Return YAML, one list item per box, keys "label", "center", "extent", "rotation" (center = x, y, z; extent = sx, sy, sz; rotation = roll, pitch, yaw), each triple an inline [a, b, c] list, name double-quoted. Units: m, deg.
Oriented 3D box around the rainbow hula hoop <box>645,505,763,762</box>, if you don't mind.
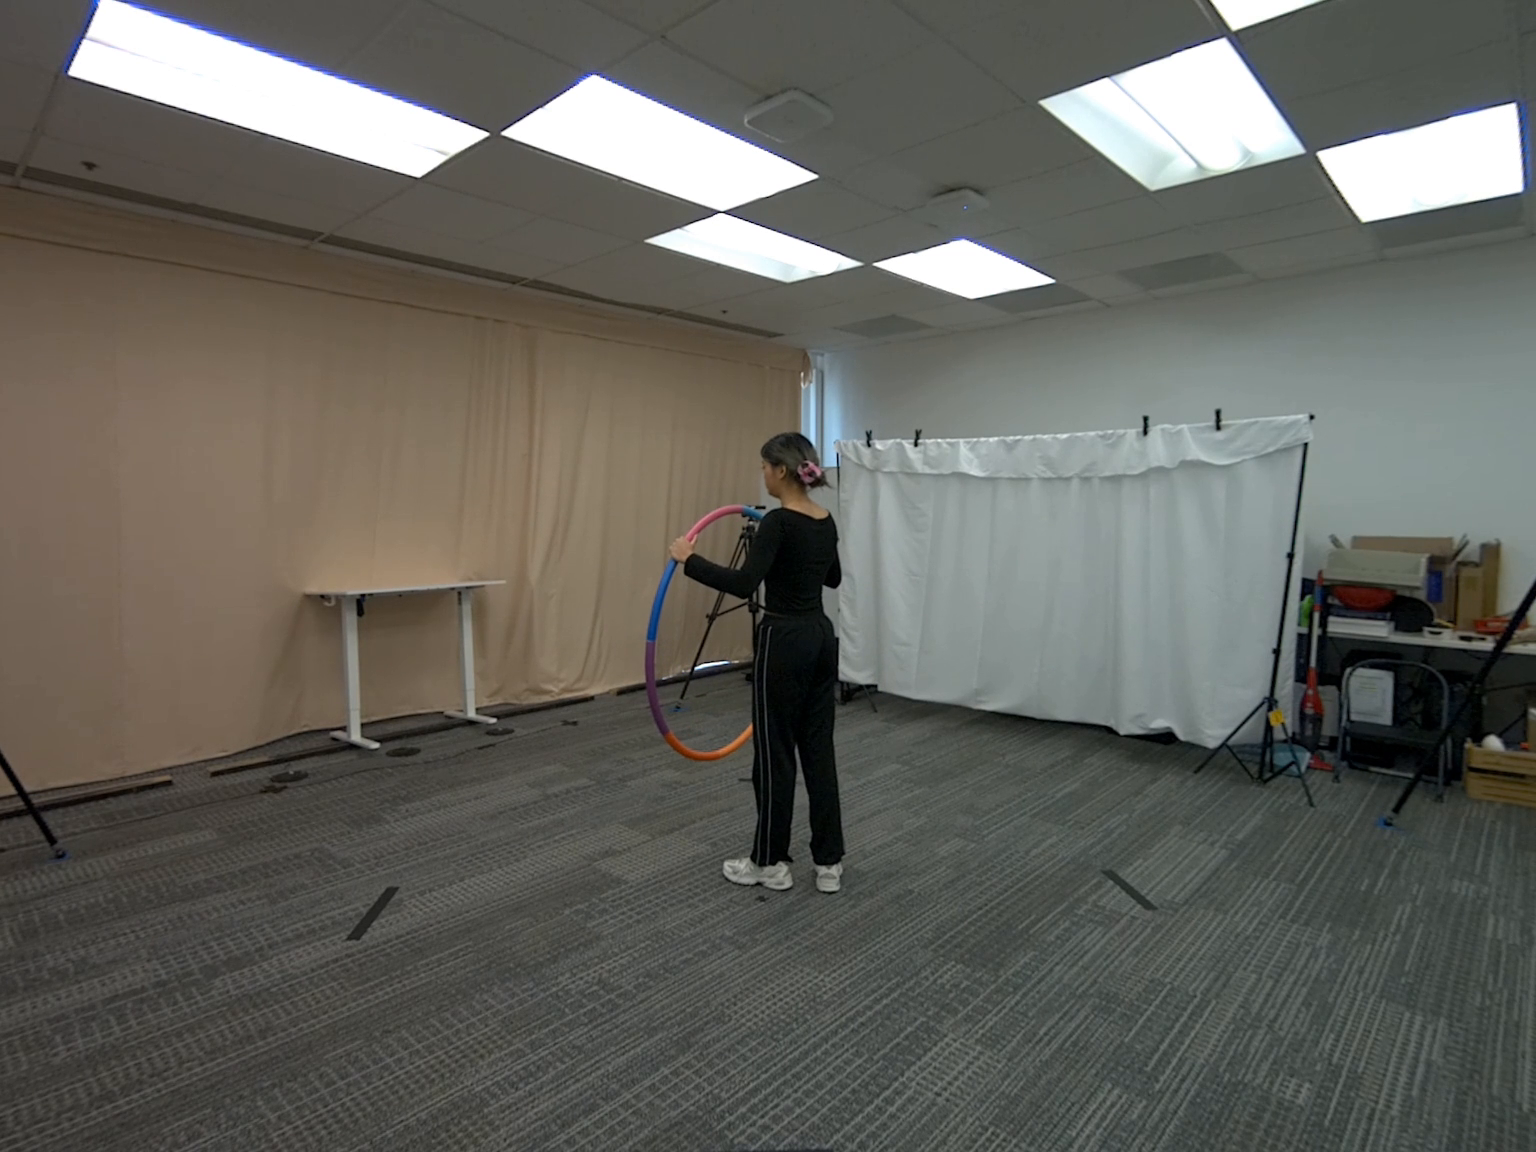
- label: "rainbow hula hoop"
  center: [-0.150, 0.219, 3.278]
  extent: [0.037, 0.975, 0.950]
  rotation: [7, 7, 35]
